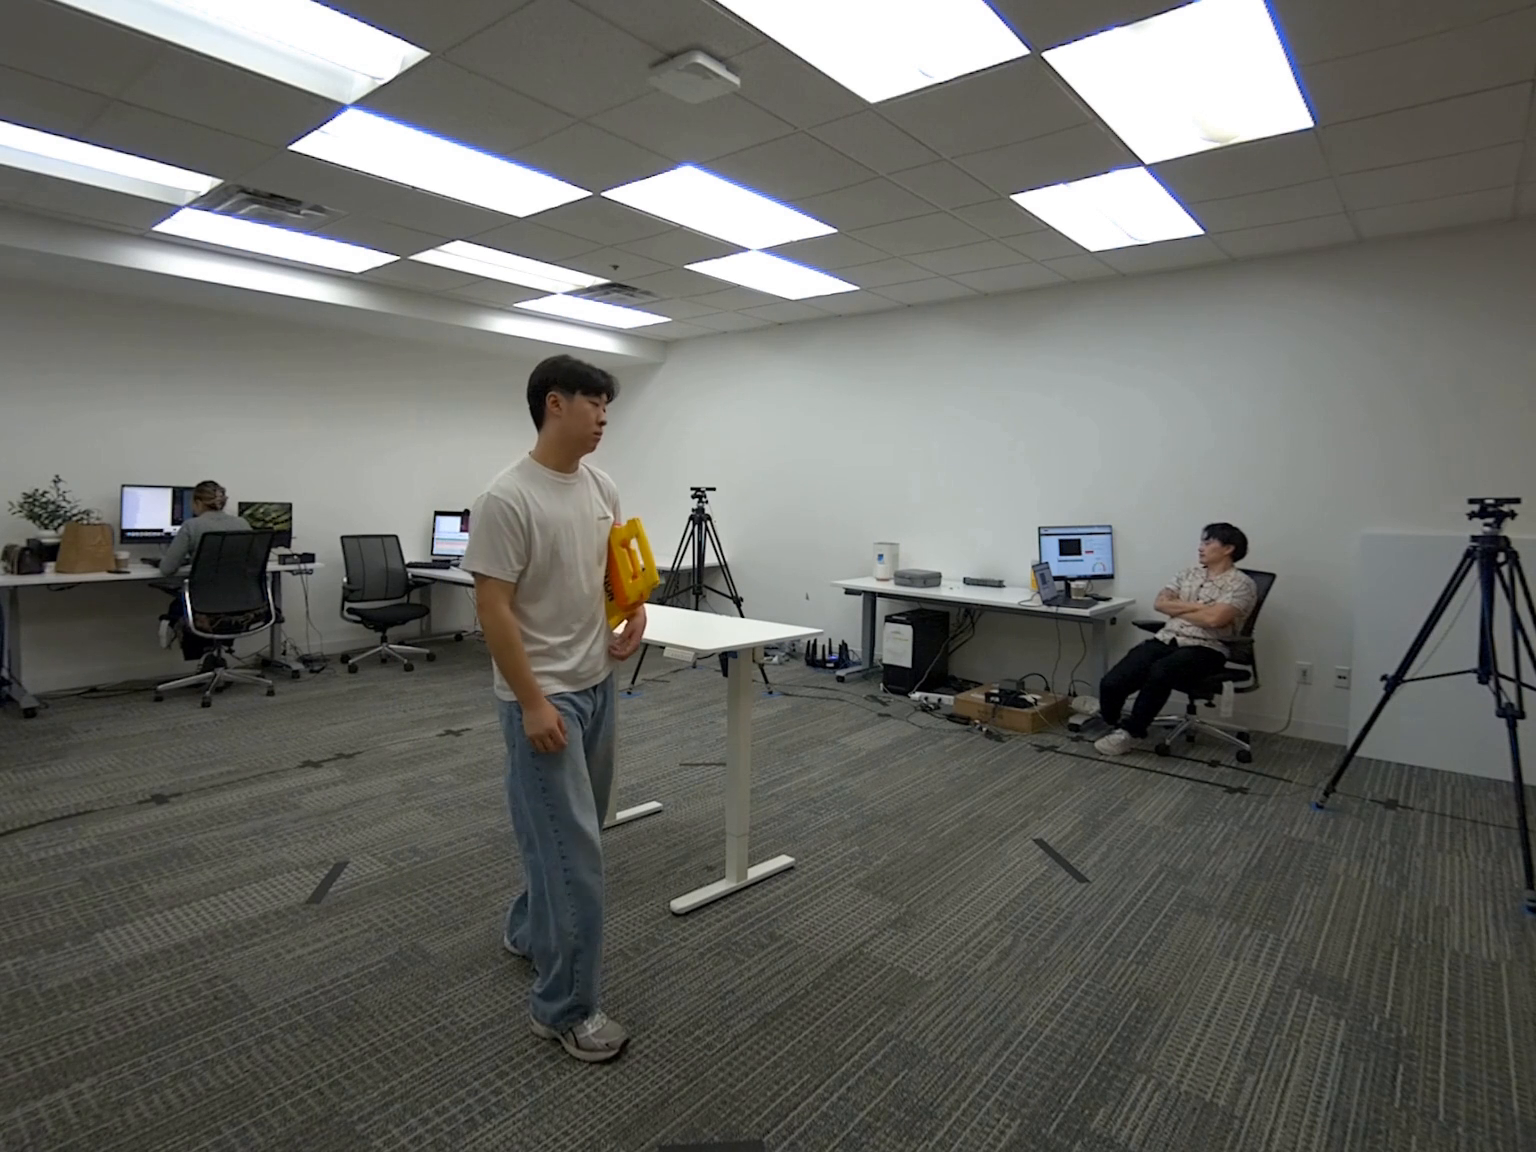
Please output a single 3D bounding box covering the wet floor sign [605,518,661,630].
[{"bbox_3d":[-0.527,0.048,2.497,0.281,0.287,0.653,-7,-18,-44],"label":"wet floor sign"}]
